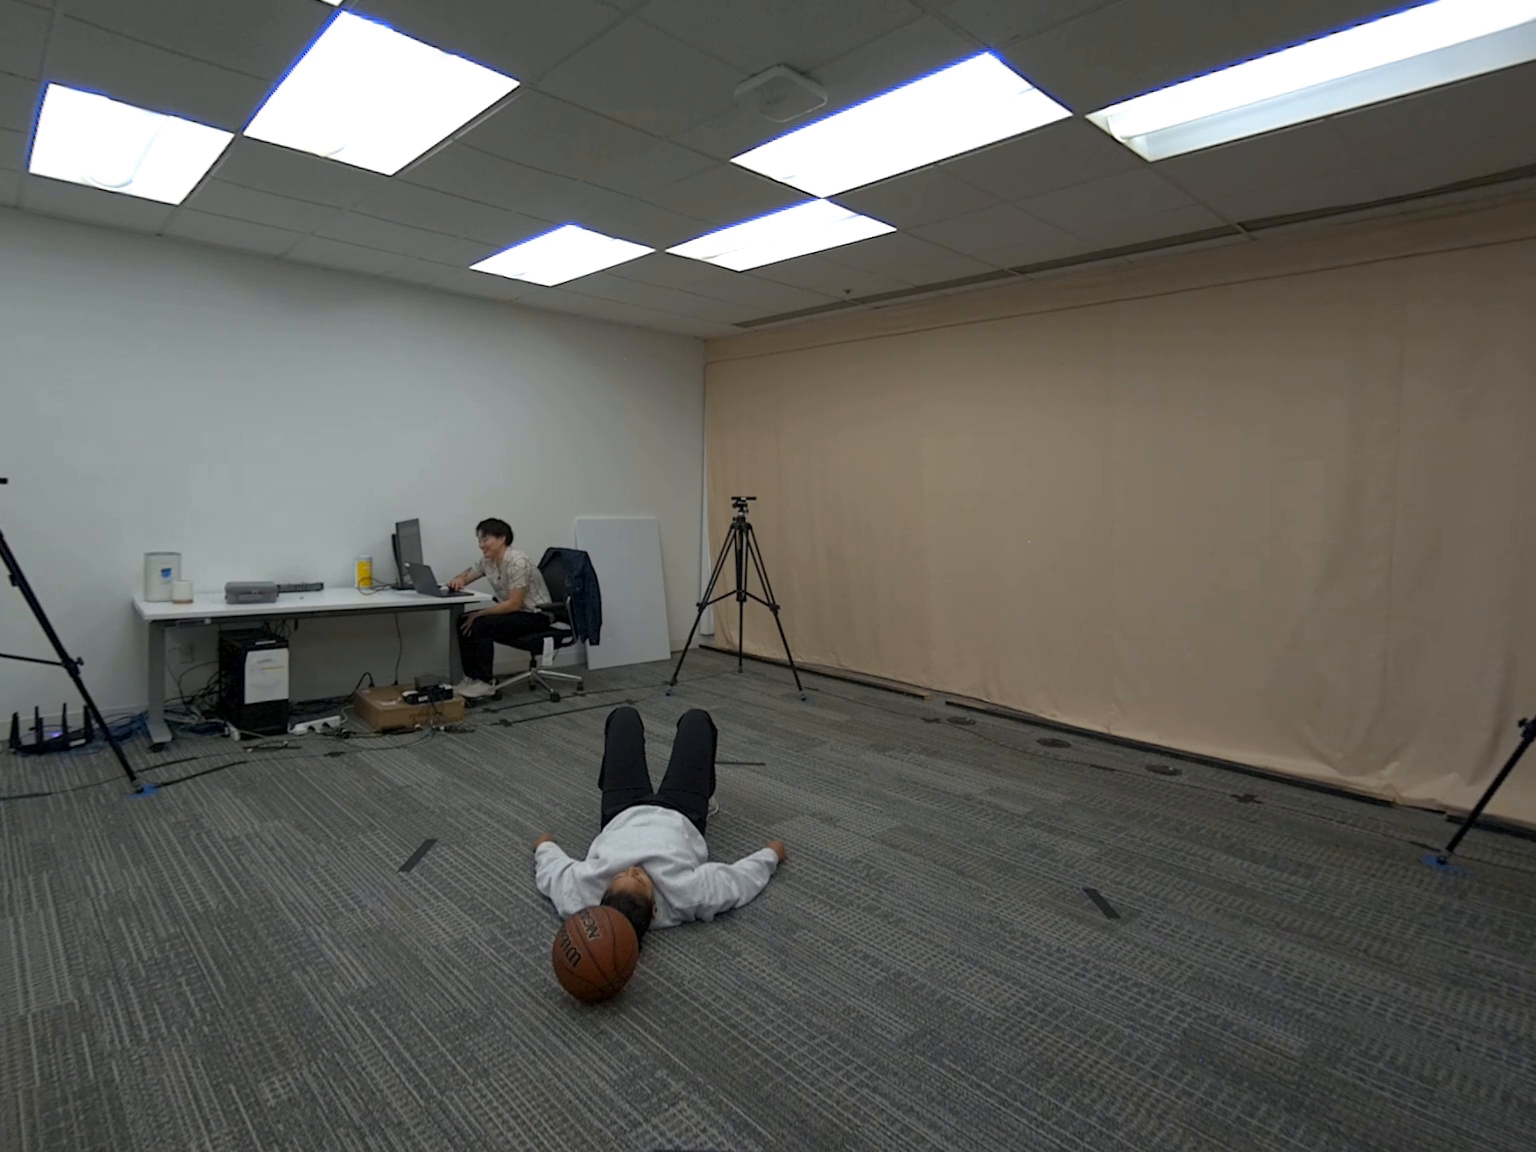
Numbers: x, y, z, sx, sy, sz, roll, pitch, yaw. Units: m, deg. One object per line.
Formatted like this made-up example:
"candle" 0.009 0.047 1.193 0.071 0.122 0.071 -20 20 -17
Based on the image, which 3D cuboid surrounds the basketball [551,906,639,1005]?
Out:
"basketball" -0.489 1.059 2.339 0.236 0.235 0.237 1 4 -1
